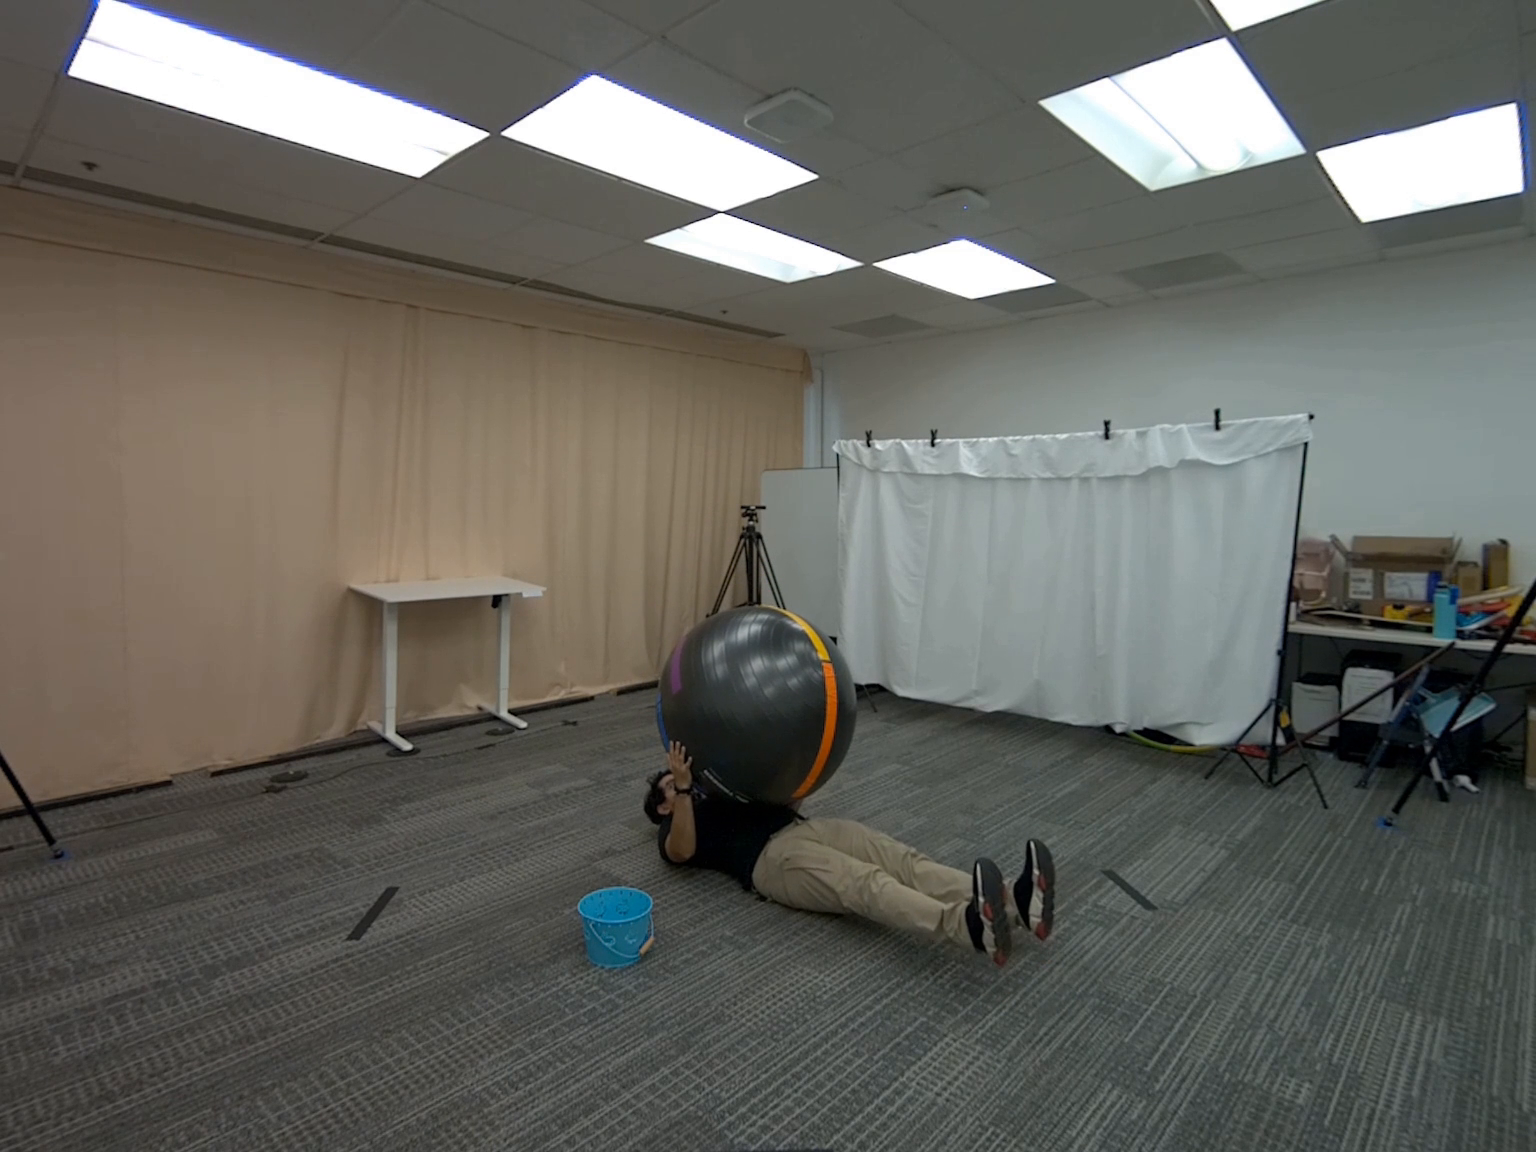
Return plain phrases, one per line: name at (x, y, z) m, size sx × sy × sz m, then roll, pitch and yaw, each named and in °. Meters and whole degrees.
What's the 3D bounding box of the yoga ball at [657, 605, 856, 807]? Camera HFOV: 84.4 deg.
yoga ball at (-0.042, 0.496, 3.195) m, size 0.757 × 0.756 × 0.761 m, roll 0°, pitch 4°, yaw -2°
